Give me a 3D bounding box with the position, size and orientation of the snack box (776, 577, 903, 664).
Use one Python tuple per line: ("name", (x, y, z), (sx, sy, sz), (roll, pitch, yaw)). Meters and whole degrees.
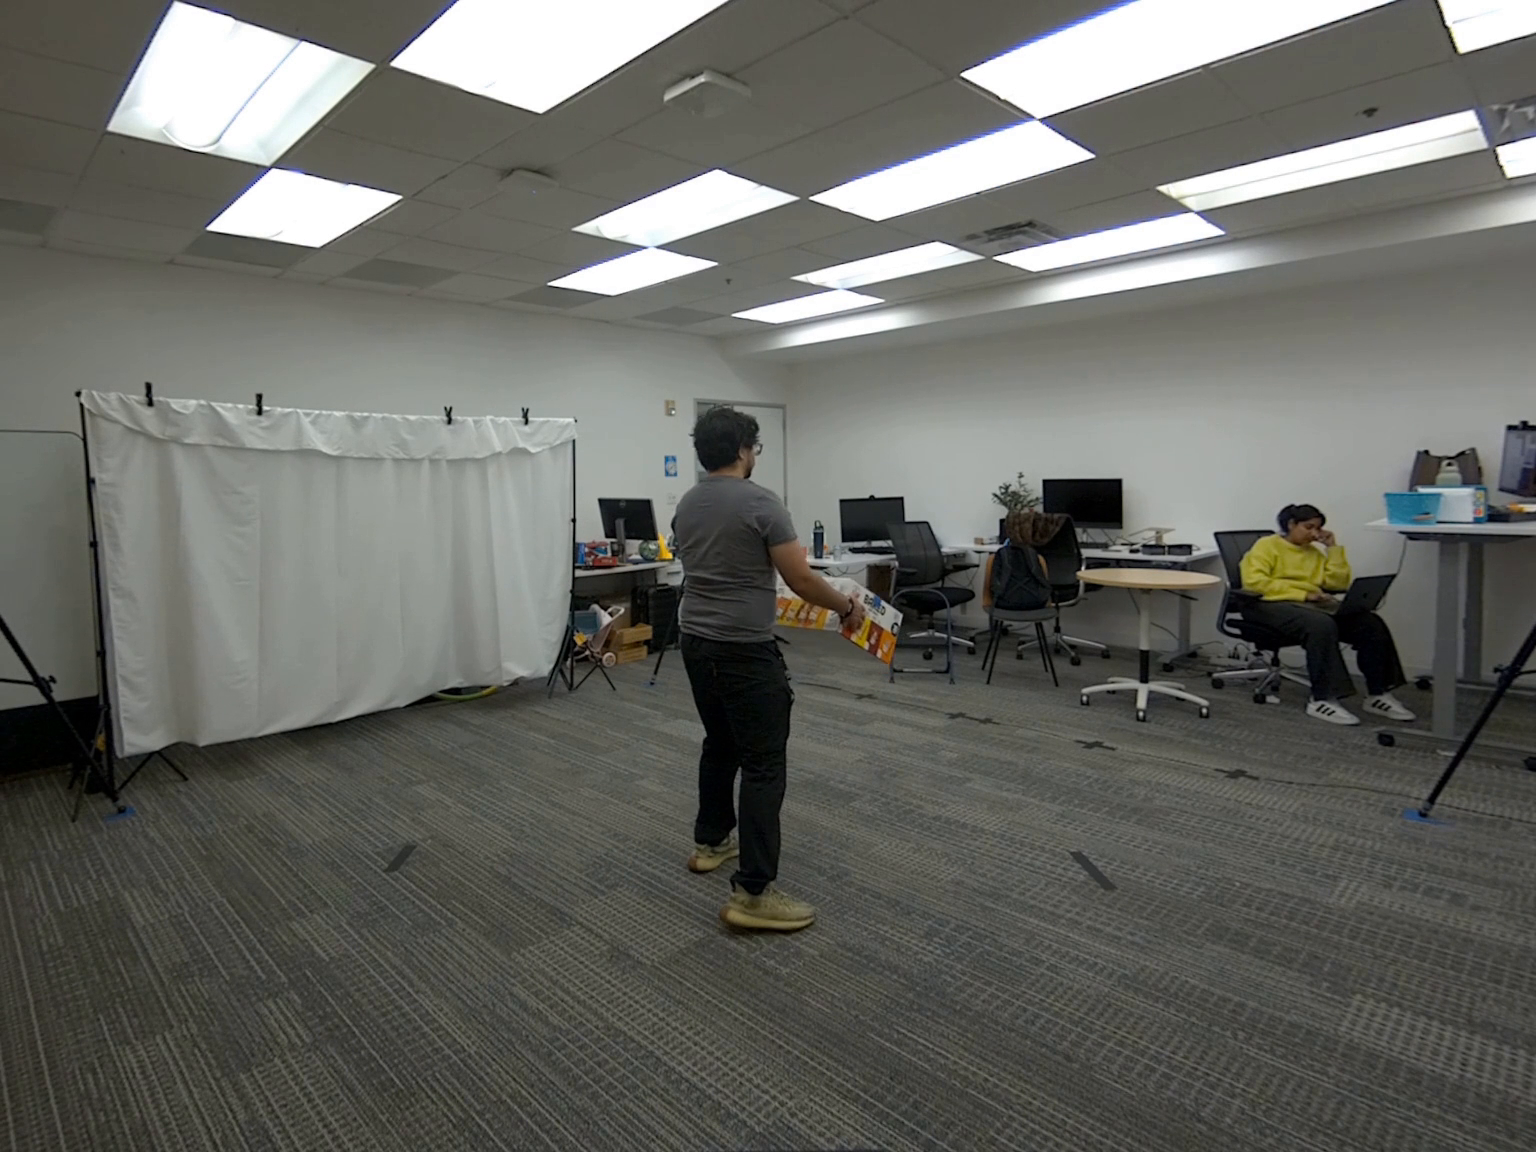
("snack box", (0.237, 0.156, 3.256), (0.417, 0.207, 0.327), (2, -23, 45))
